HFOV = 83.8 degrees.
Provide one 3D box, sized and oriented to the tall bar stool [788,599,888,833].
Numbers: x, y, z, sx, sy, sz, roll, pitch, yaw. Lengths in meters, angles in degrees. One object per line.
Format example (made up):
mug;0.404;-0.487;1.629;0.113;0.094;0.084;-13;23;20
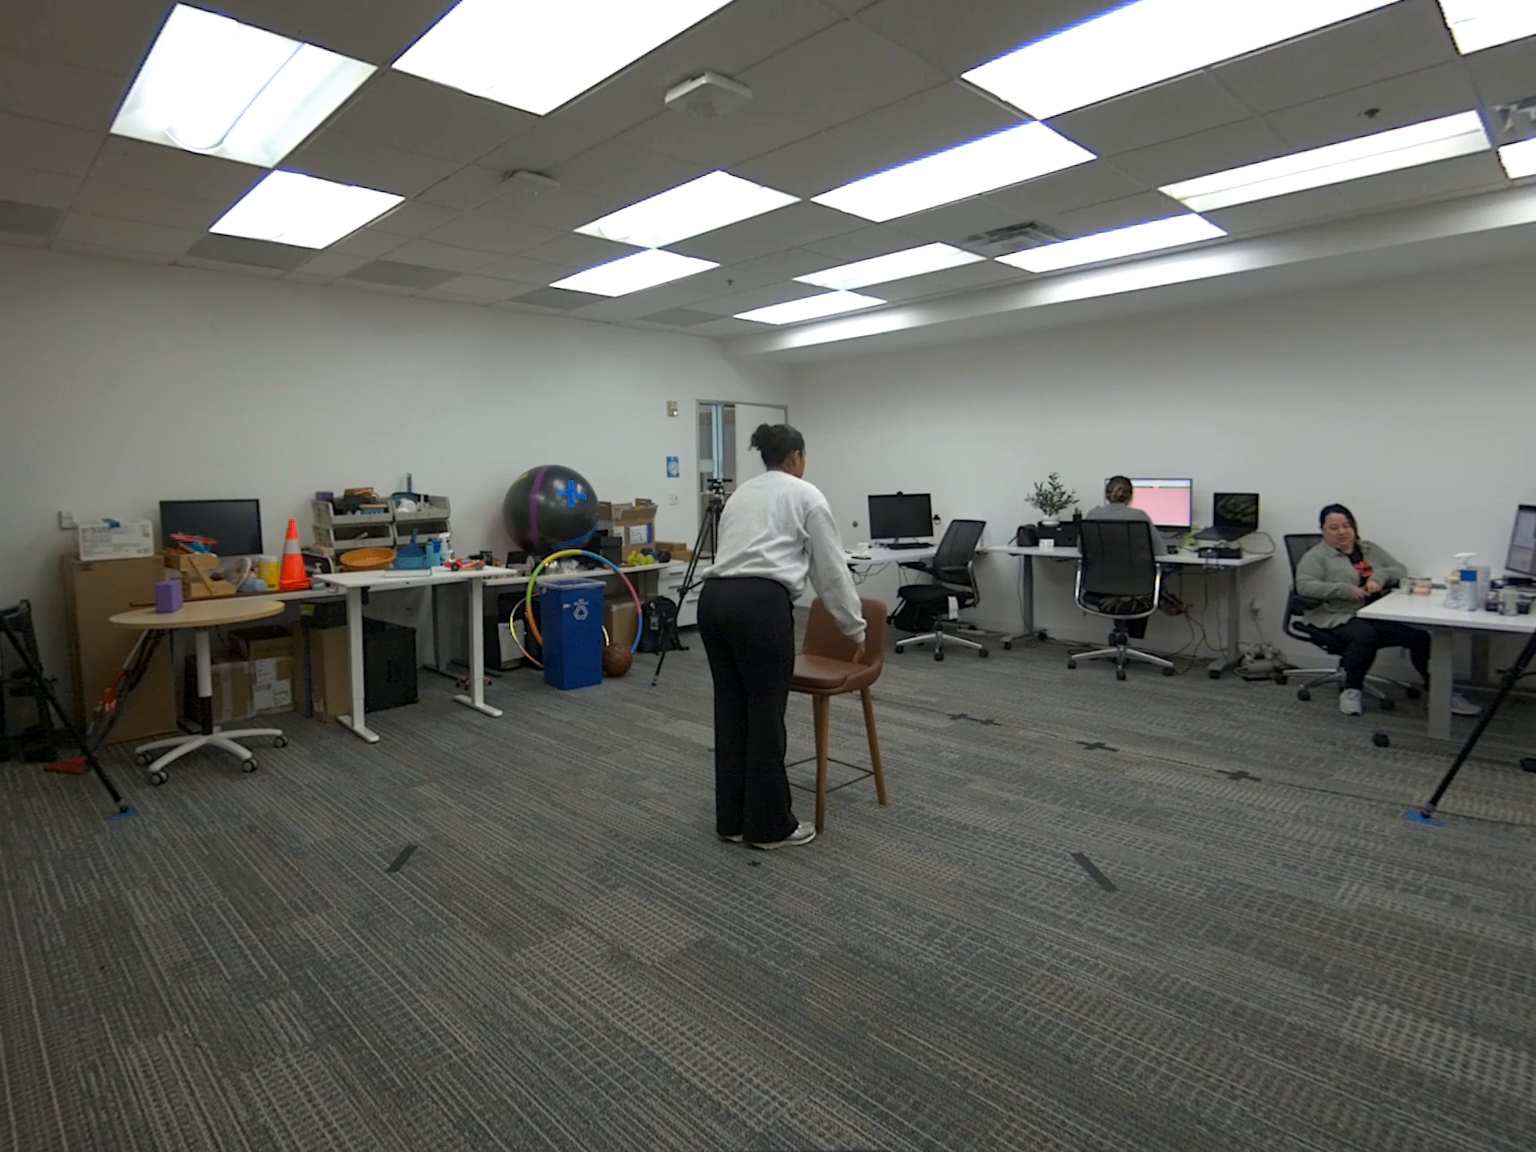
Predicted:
tall bar stool;0.219;0.544;3.626;0.454;0.888;0.470;-2;4;-42
